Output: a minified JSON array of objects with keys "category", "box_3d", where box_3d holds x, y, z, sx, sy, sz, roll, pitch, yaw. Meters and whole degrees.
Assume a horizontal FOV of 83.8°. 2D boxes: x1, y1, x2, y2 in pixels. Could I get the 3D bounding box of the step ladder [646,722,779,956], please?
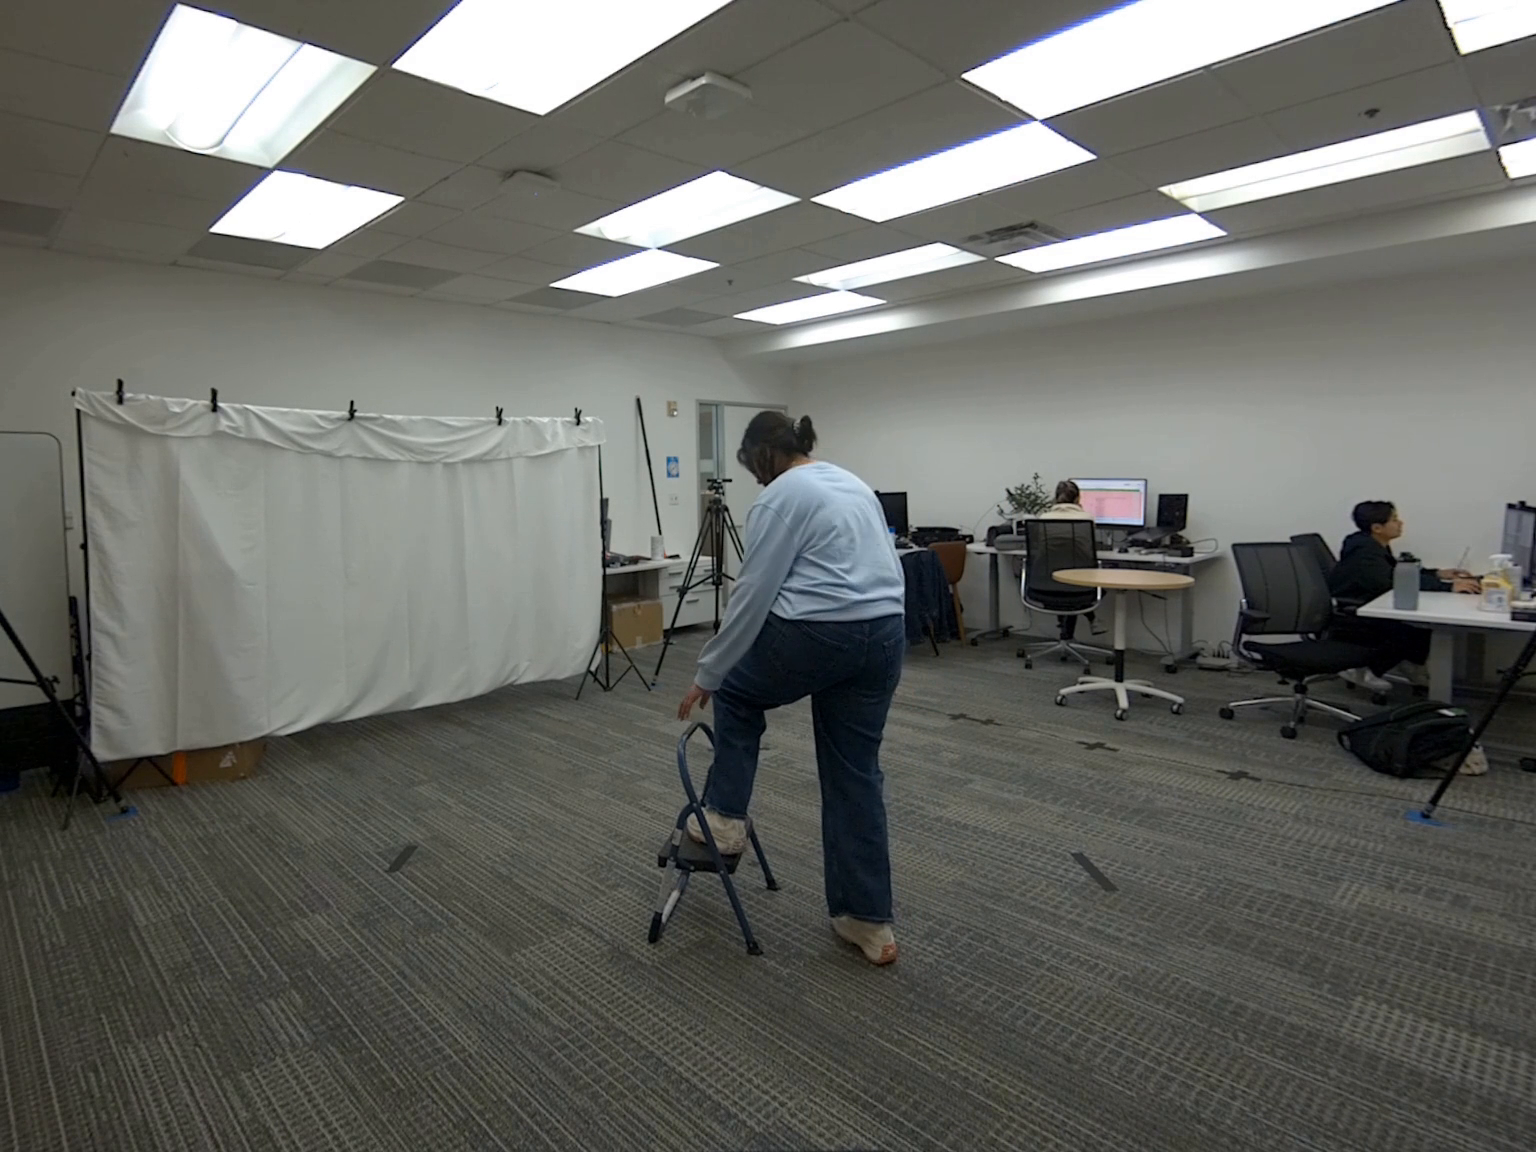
[{"category":"step ladder","box_3d":[-0.168,0.792,2.732,0.353,0.604,0.428,0,5,9]}]
